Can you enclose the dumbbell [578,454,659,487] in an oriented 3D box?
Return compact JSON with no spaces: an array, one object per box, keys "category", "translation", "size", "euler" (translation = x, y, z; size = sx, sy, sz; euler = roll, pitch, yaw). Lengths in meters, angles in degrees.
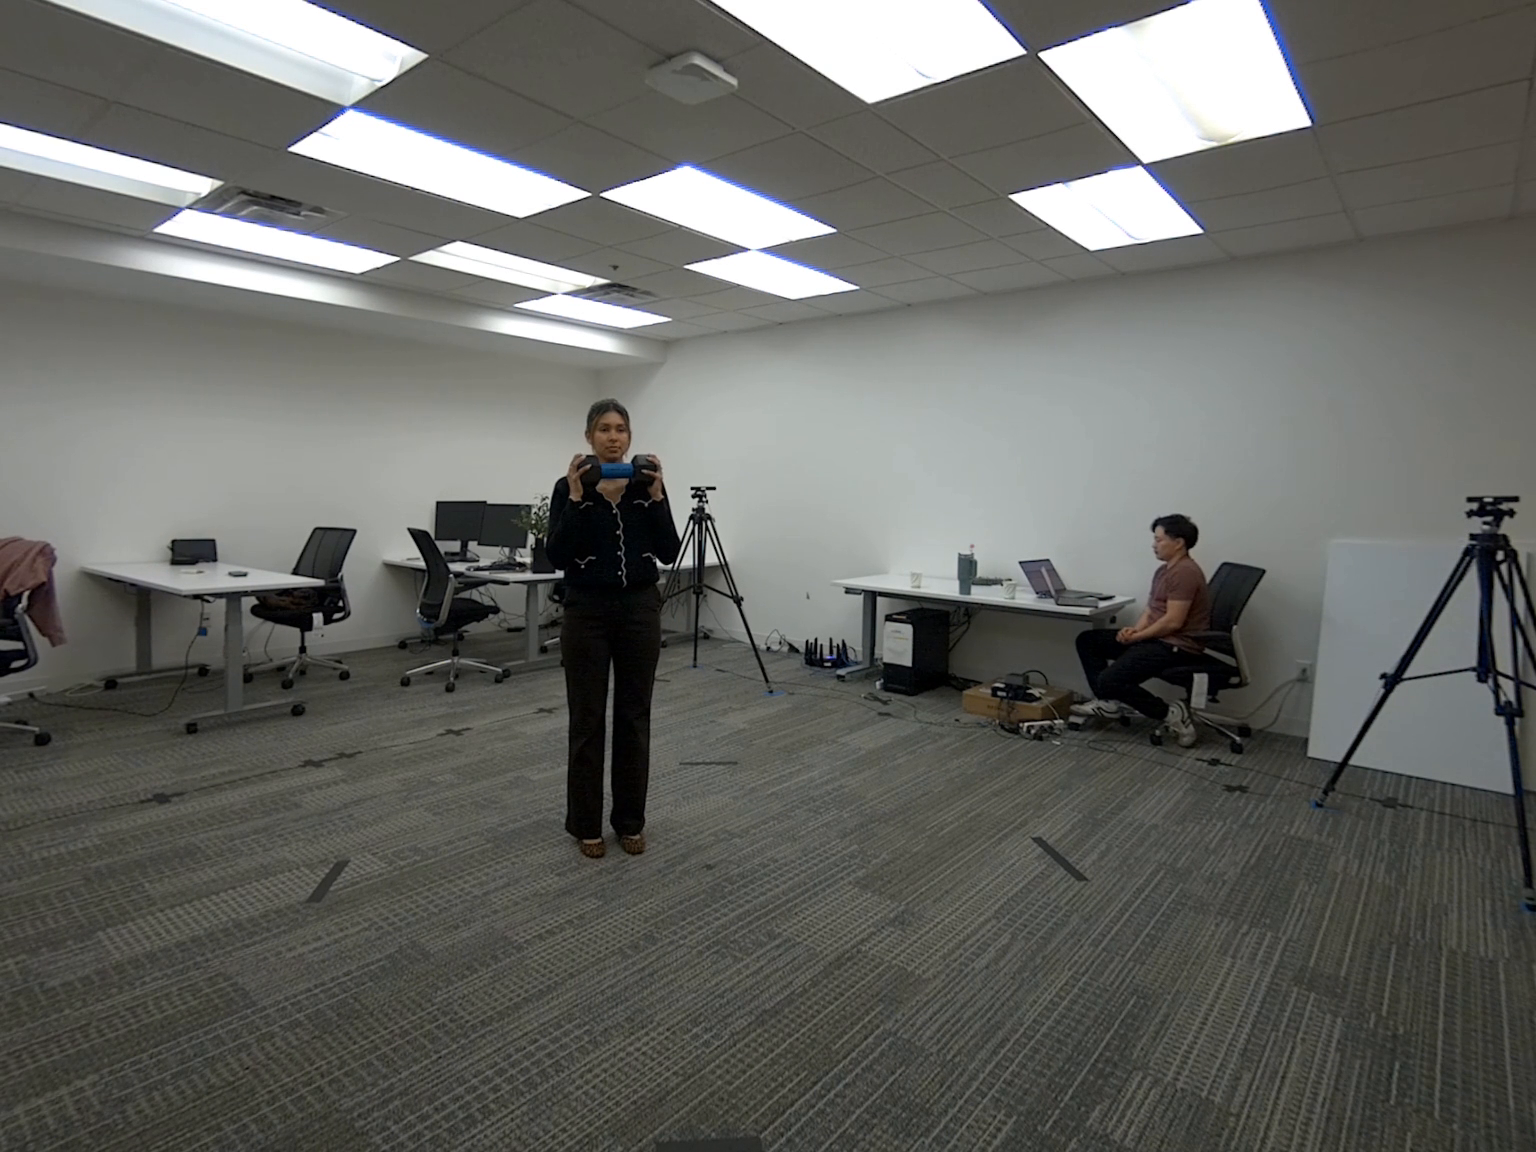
[{"category":"dumbbell","translation":[-0.591,-0.391,3.175],"size":[0.288,0.121,0.112],"euler":[-3,22,-19]}]
